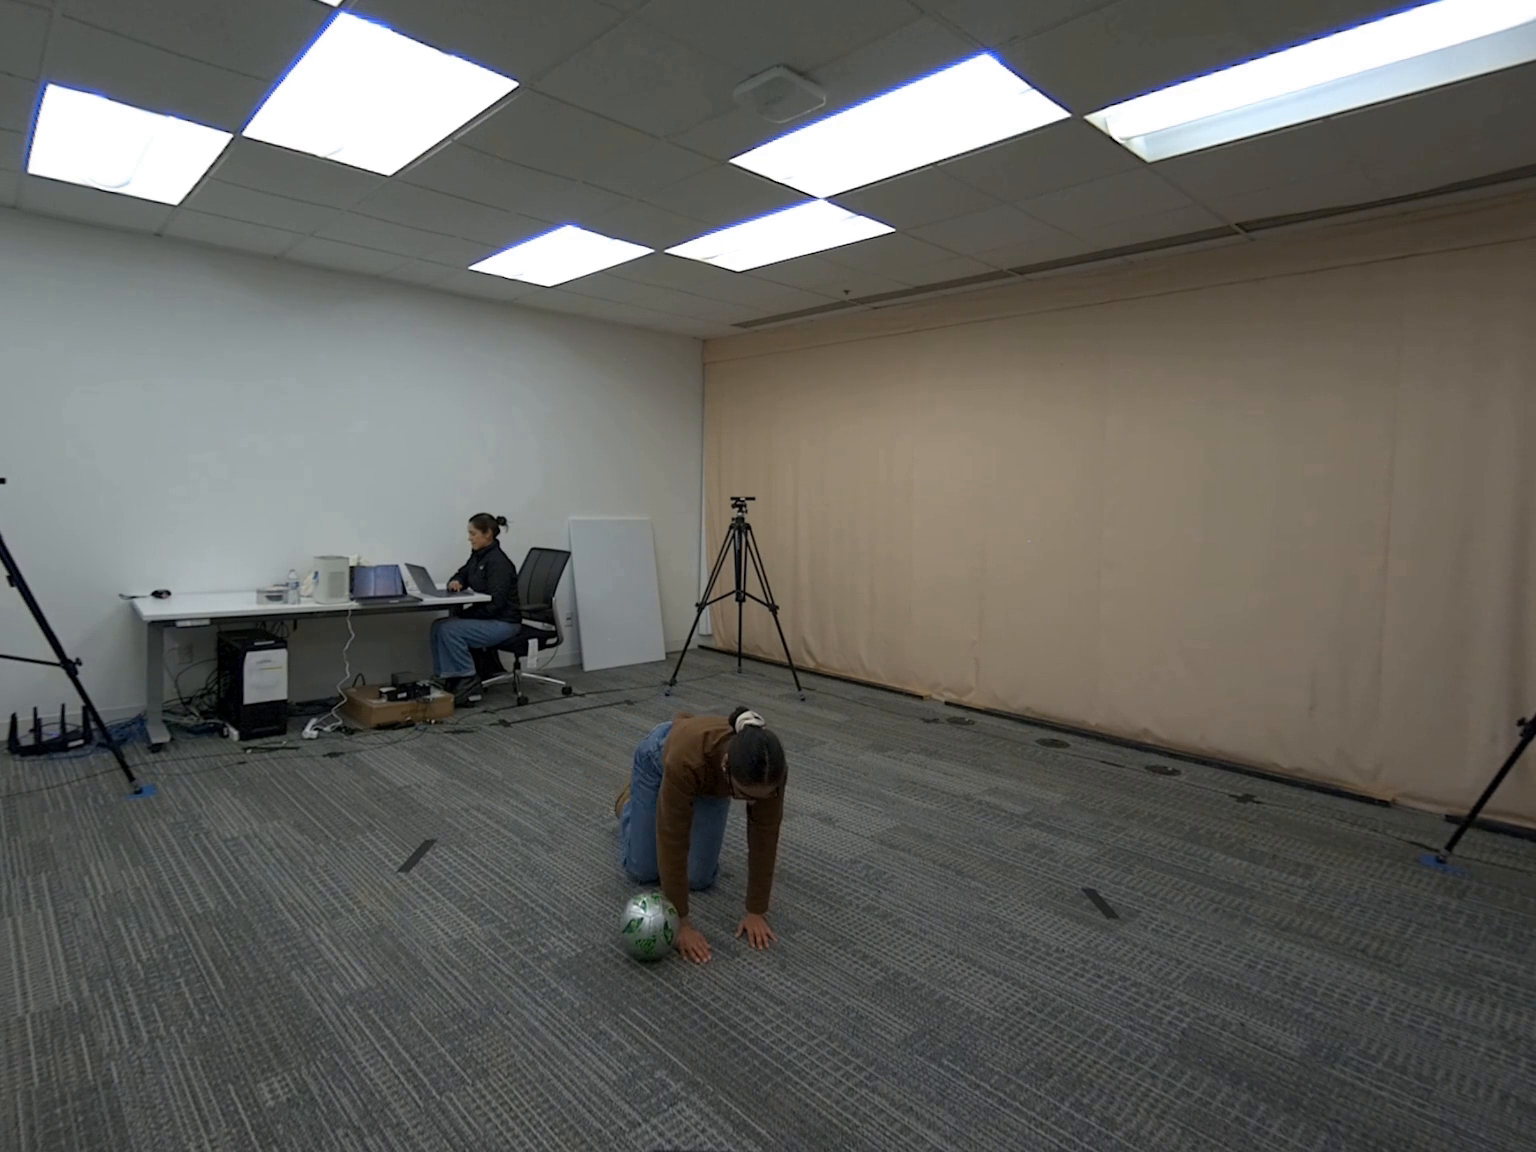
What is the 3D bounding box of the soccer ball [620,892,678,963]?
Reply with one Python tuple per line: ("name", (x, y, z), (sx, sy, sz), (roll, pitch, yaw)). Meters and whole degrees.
("soccer ball", (-0.377, 1.061, 2.543), (0.187, 0.187, 0.188), (1, 4, -1))
